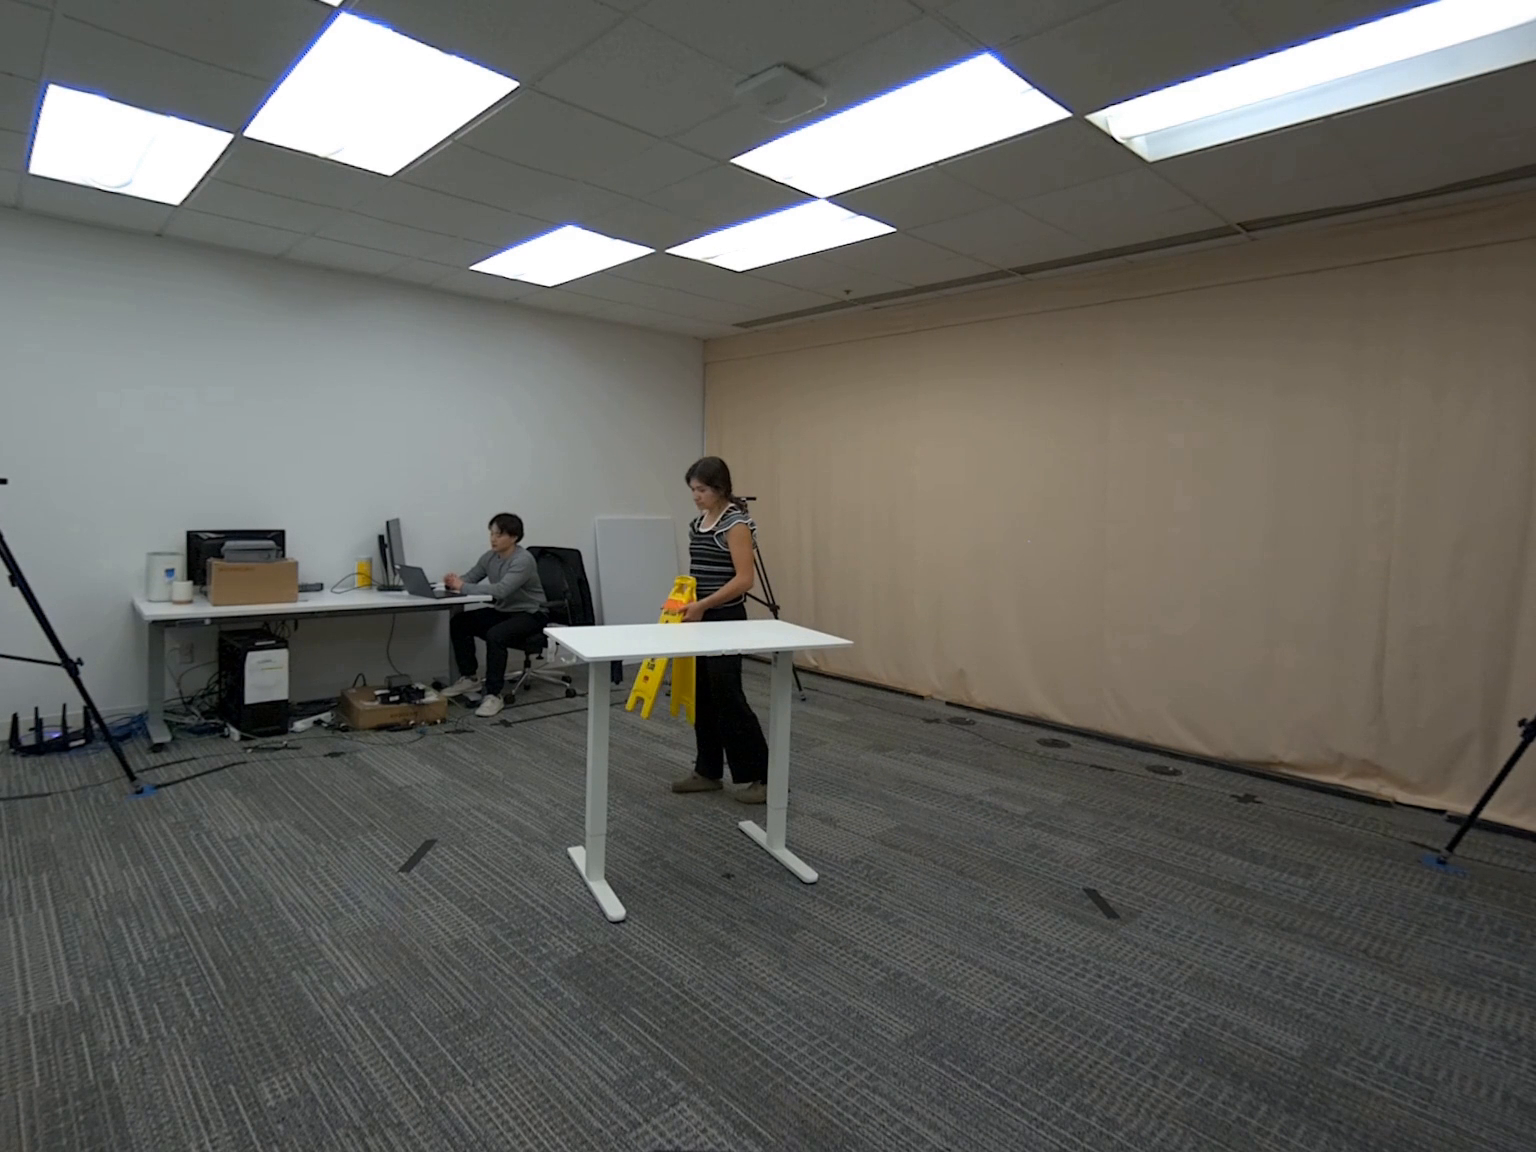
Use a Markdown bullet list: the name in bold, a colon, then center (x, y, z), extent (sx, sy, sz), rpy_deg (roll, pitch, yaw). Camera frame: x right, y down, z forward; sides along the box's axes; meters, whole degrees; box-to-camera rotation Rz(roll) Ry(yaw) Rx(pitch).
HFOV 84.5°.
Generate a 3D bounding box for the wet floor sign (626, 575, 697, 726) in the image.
- **wet floor sign**: center (-0.441, 0.327, 3.857), extent (0.284, 0.648, 0.287), rpy_deg (12, -6, -25)
